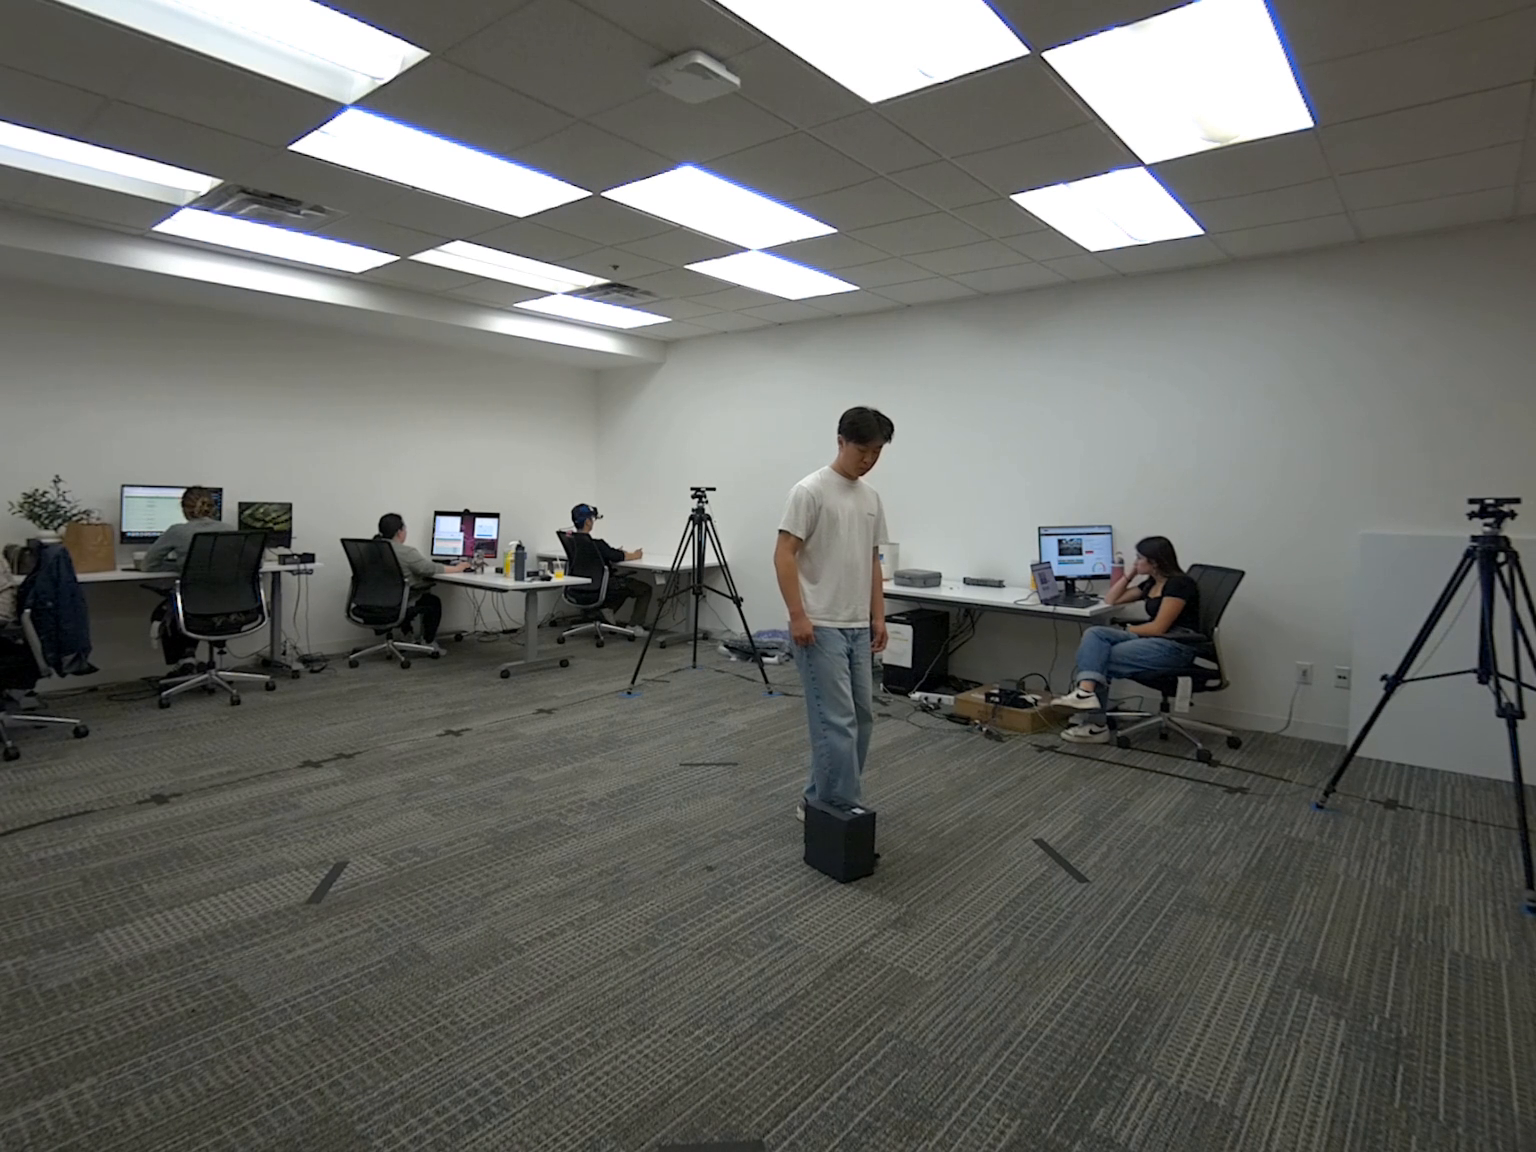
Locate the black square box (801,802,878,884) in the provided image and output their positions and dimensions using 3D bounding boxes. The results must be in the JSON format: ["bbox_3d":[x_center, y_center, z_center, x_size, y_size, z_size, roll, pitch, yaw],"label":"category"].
[{"bbox_3d":[0.249,0.954,3.120,0.151,0.227,0.224,0,4,-38],"label":"black square box"}]
